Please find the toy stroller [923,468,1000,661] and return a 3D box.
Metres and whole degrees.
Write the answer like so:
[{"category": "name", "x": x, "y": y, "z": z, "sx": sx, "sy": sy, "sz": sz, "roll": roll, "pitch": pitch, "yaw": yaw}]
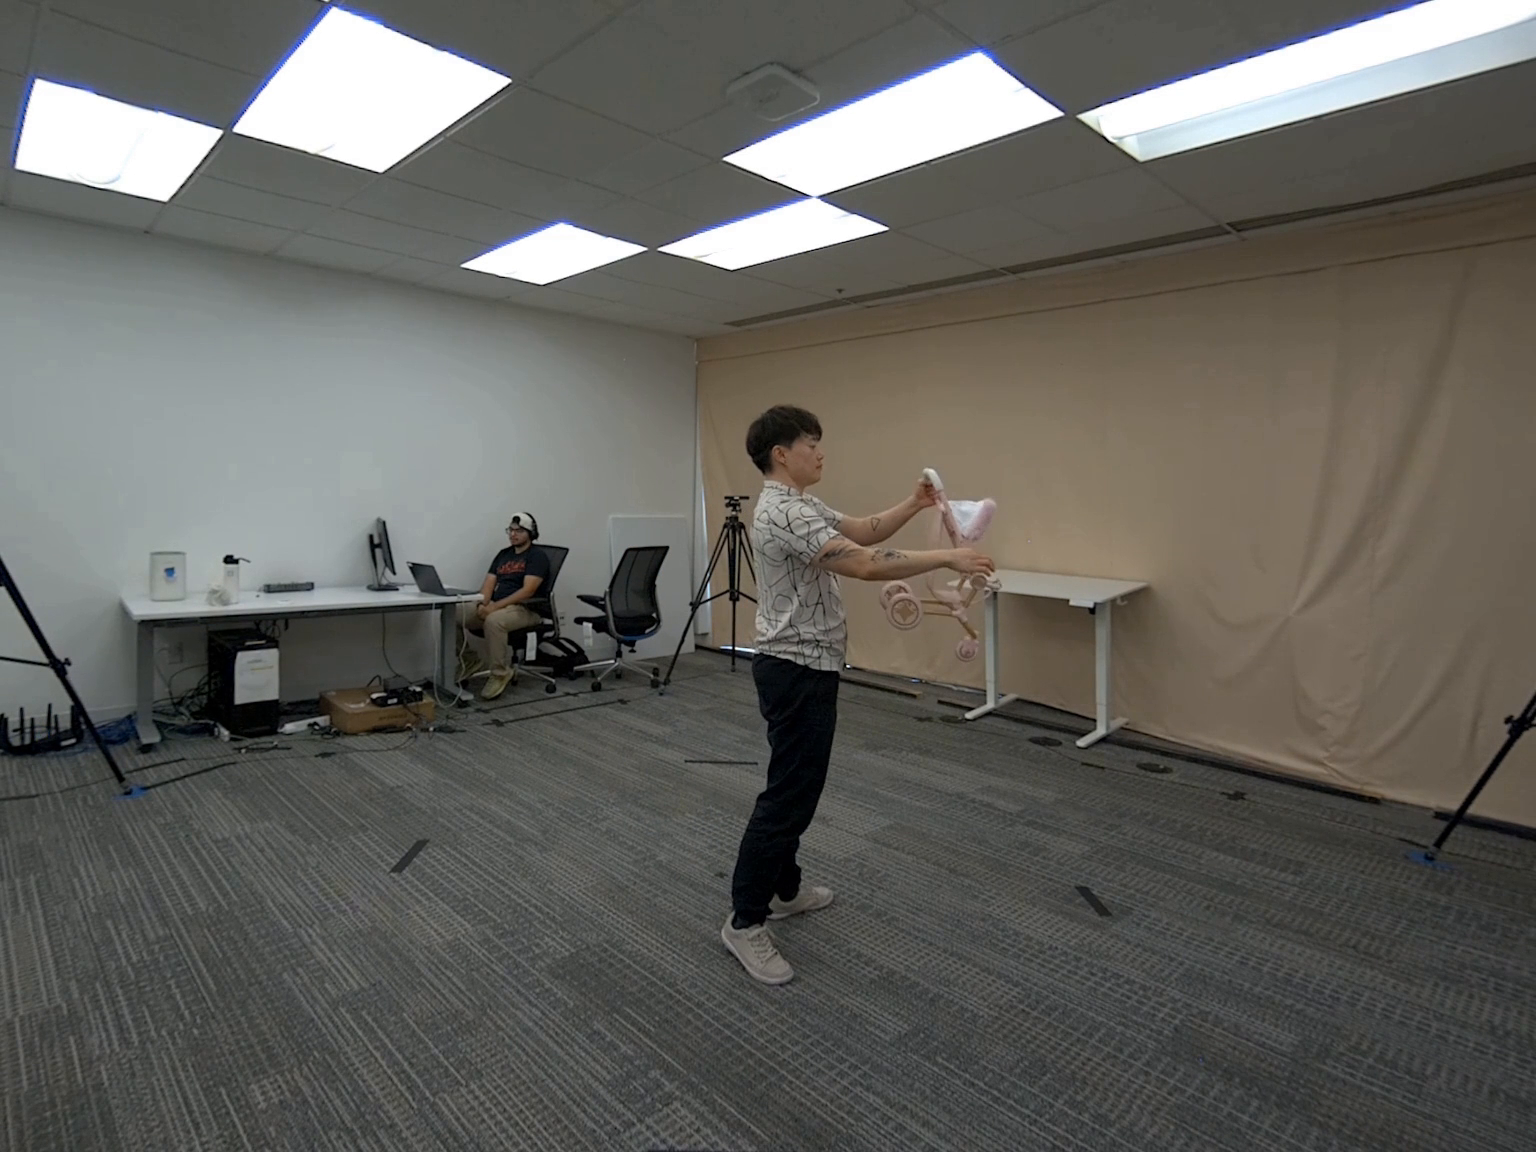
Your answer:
[{"category": "toy stroller", "x": 0.562, "y": -0.025, "z": 2.598, "sx": 0.344, "sy": 0.533, "sz": 0.280, "roll": 19, "pitch": 6, "yaw": 7}]
